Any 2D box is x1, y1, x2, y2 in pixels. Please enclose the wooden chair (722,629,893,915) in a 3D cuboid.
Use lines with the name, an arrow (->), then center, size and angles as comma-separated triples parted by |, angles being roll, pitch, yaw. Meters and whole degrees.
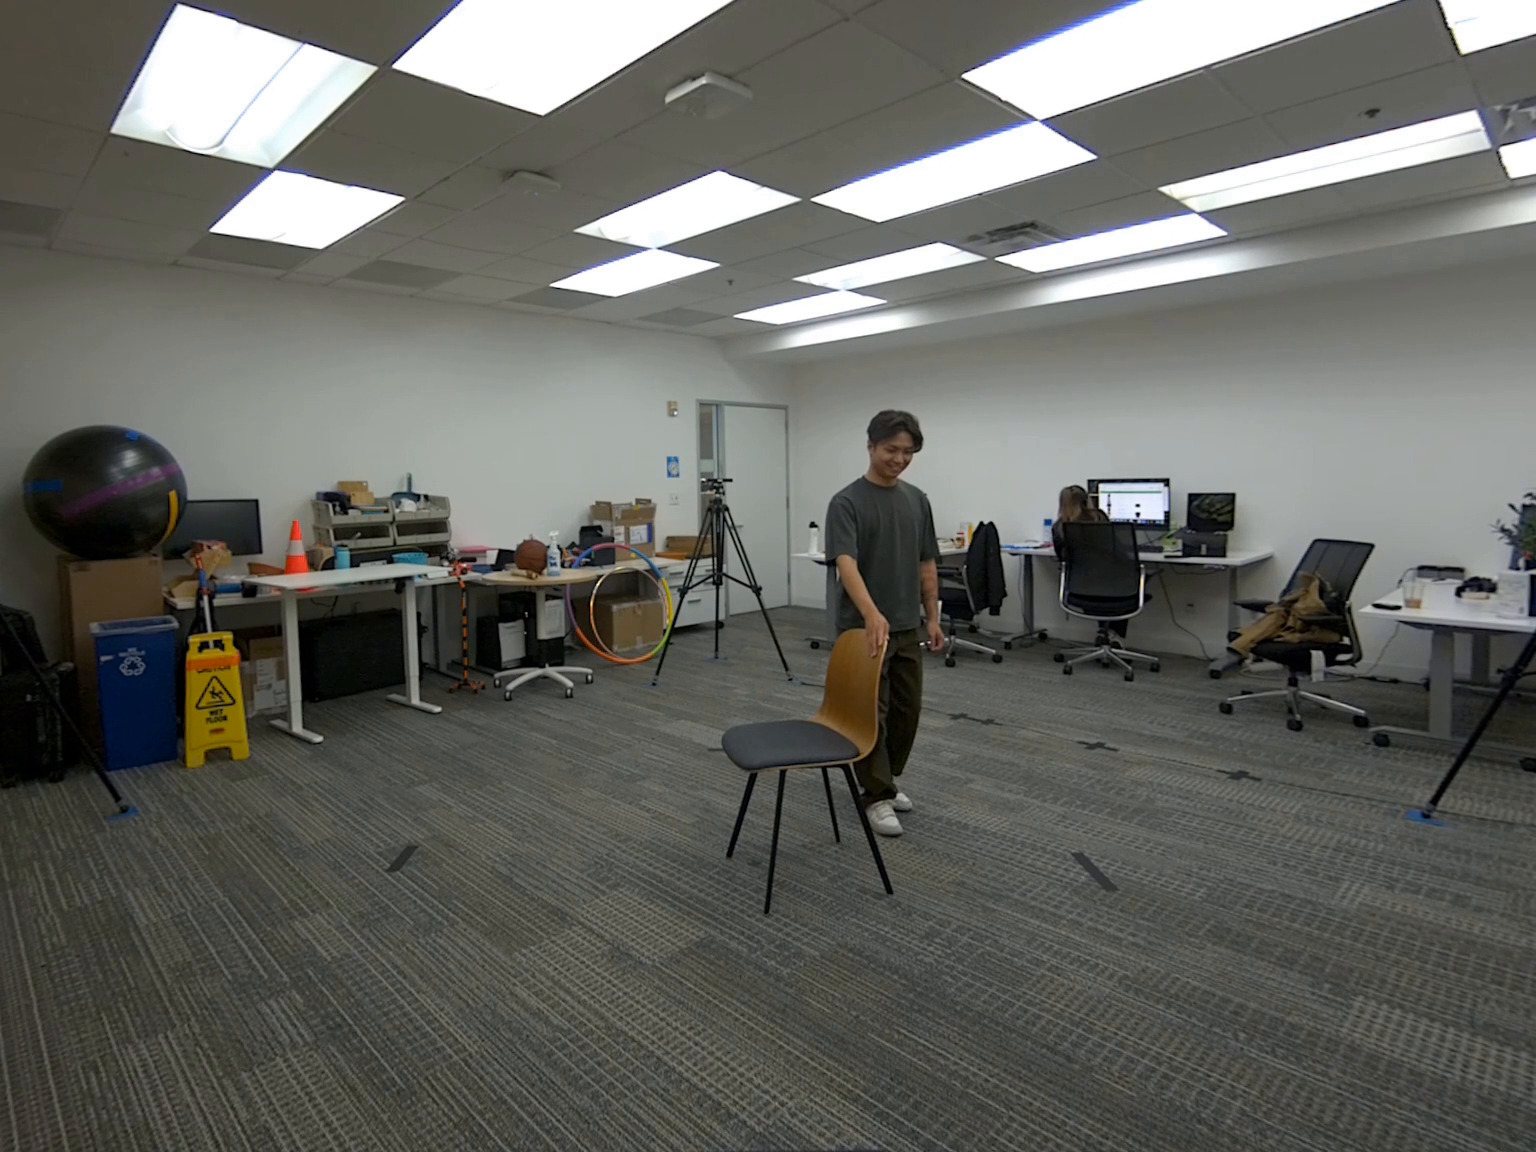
wooden chair -> 0.122, 0.630, 2.974 | 0.514, 0.875, 0.487 | 2, 4, -18
